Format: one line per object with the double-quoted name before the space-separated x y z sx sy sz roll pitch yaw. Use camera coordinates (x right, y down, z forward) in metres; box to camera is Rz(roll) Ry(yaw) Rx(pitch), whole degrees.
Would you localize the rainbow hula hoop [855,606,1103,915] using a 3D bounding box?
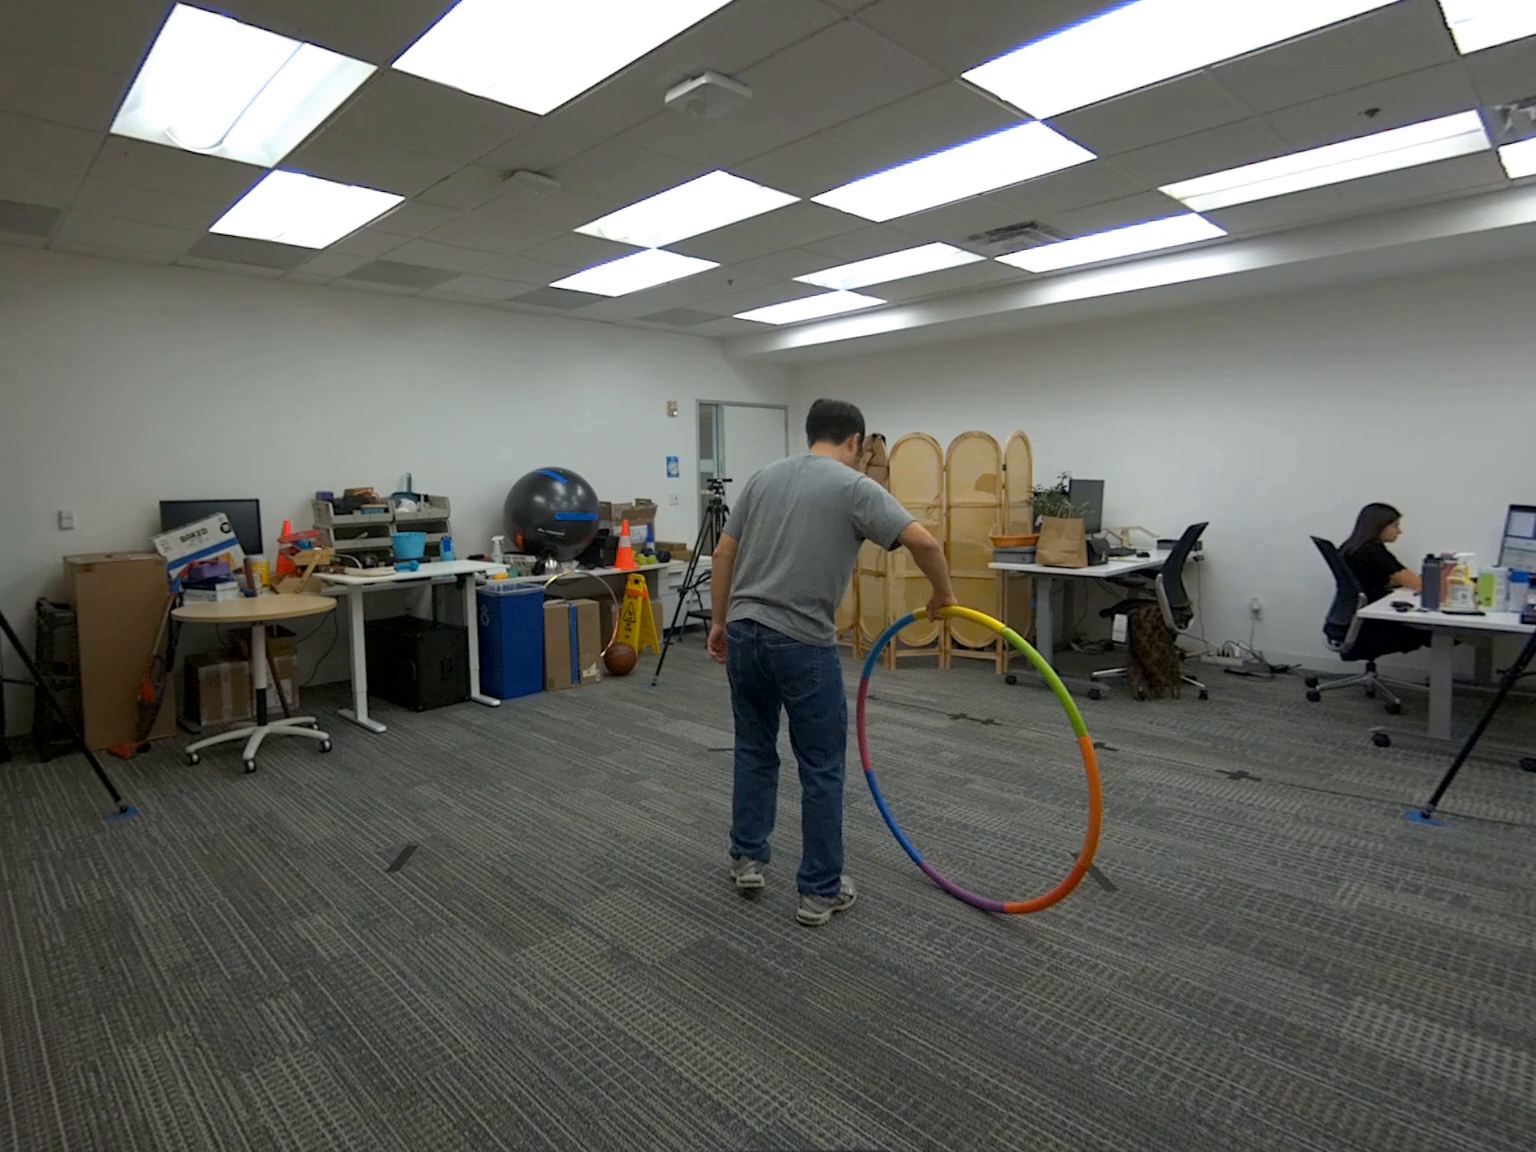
"rainbow hula hoop" 0.607 0.586 2.795 0.035 0.974 1.007 -6 7 -33
